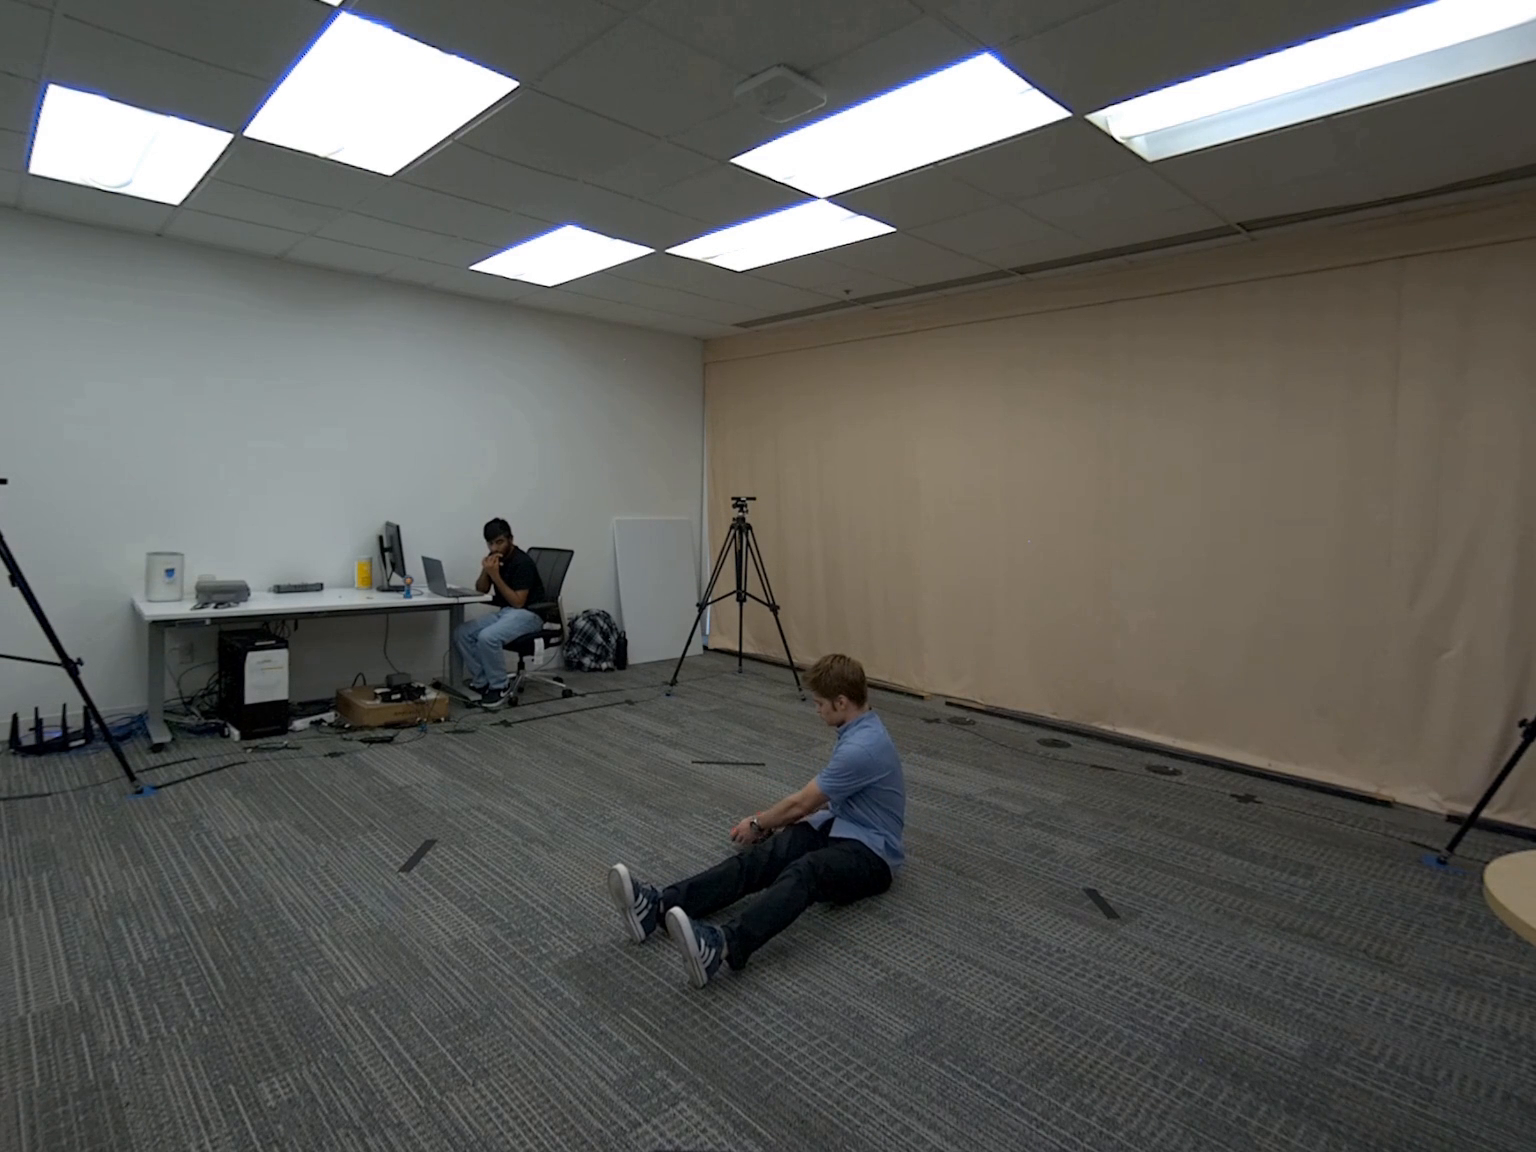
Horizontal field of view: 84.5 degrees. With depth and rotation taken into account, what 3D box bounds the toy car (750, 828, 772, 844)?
[{"bbox_3d":[-0.058,1.013,3.396,0.132,0.083,0.252,0,5,18],"label":"toy car"}]
